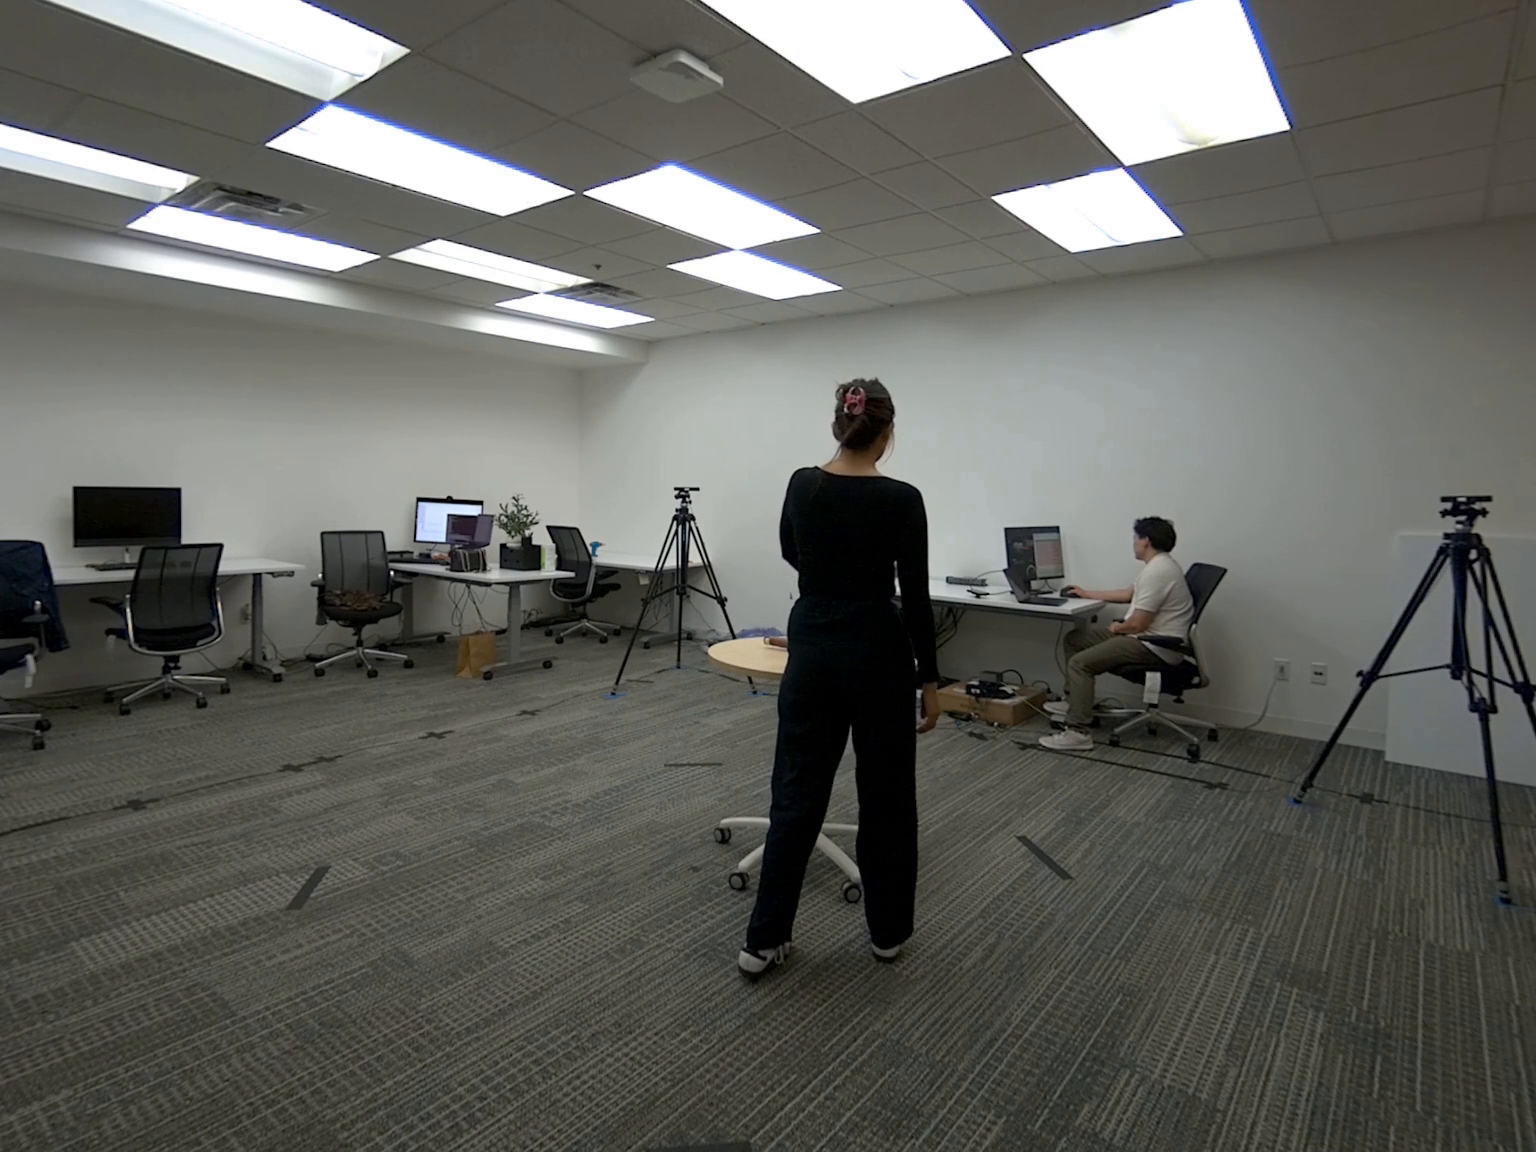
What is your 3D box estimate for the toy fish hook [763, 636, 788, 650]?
[{"bbox_3d":[0.177,0.271,3.079,0.522,0.048,0.218,5,6,30],"label":"toy fish hook"}]
